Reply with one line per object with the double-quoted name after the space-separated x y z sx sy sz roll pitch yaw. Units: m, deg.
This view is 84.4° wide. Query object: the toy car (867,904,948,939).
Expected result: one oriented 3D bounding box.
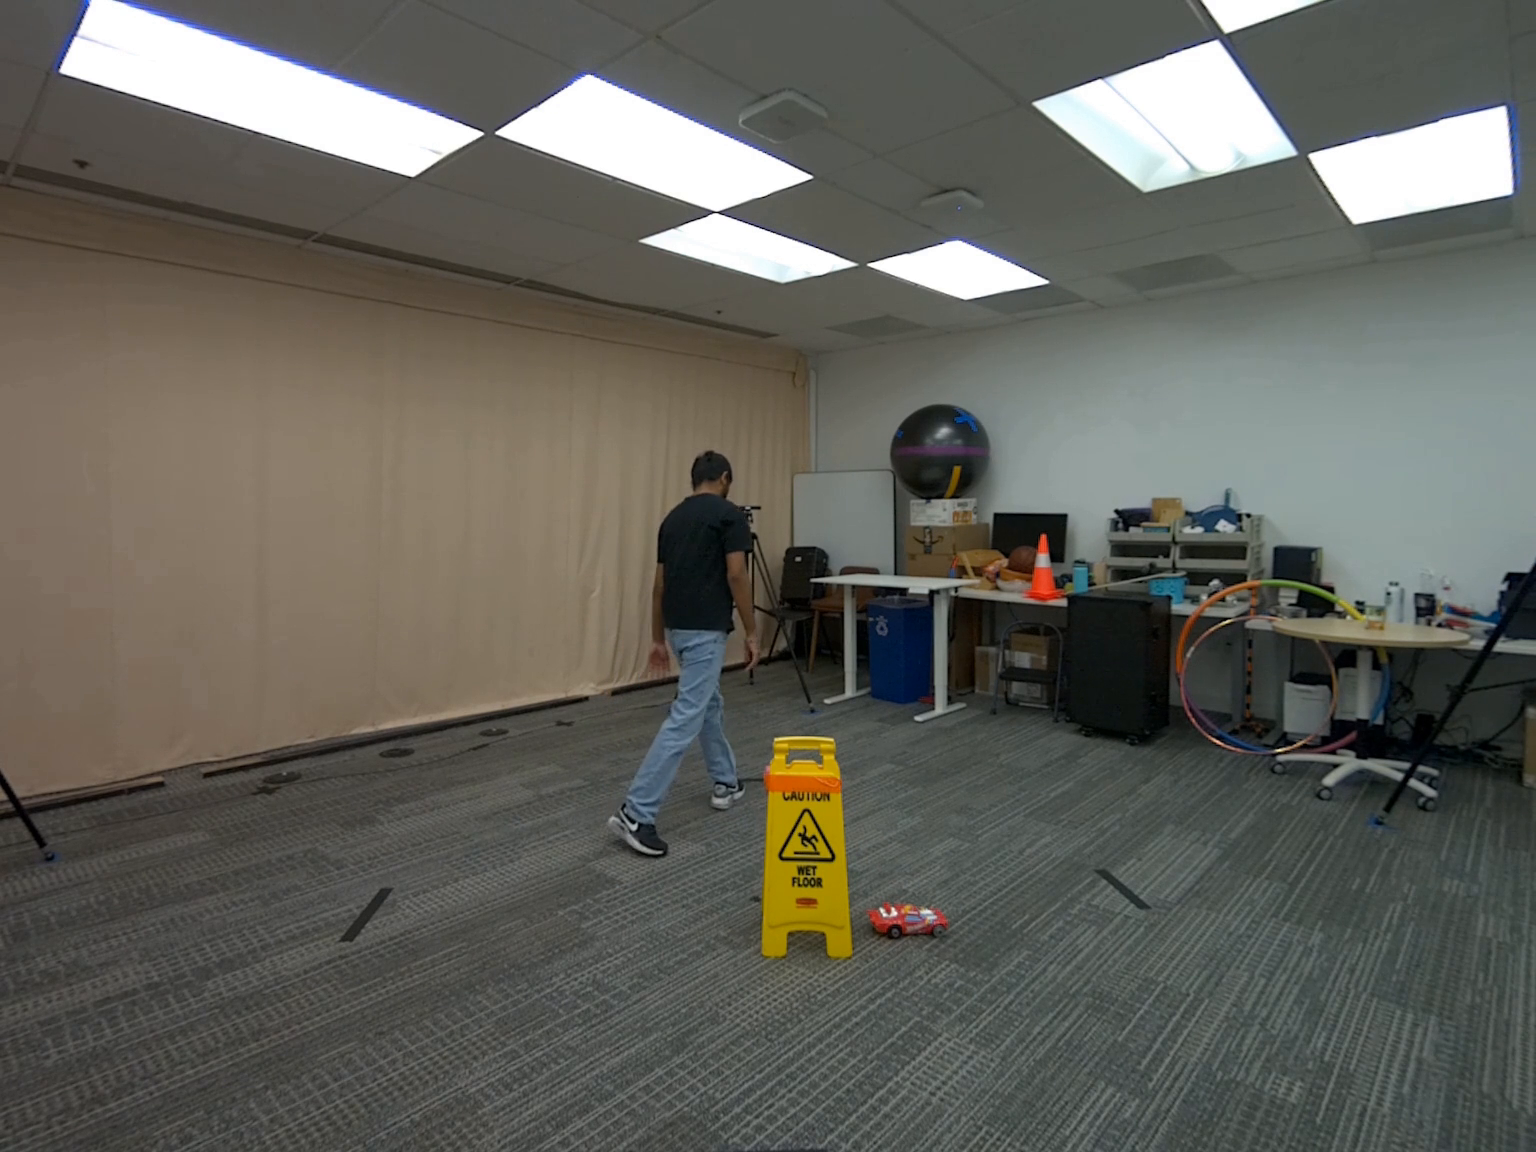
0.458 1.132 2.753 0.253 0.083 0.131 11 3 -4 "toy car"
